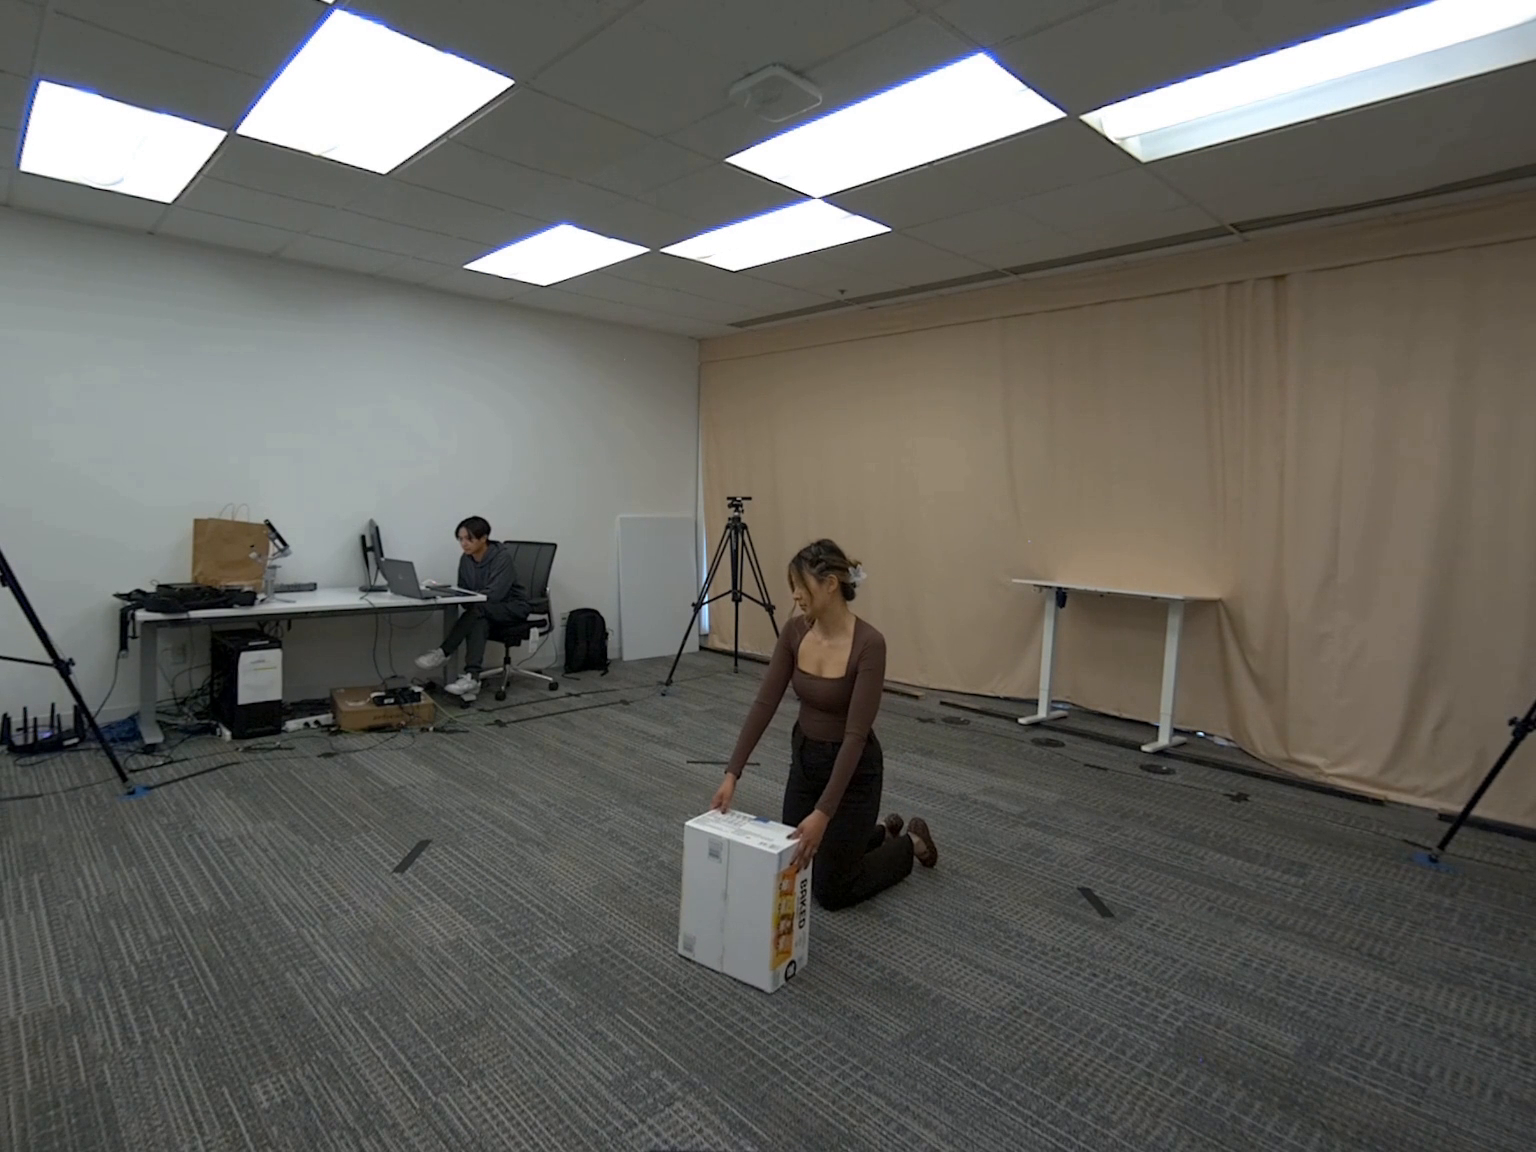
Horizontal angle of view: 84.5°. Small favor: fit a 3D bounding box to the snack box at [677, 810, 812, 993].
[{"bbox_3d":[-0.072,0.955,2.532,0.348,0.404,0.201,4,3,34],"label":"snack box"}]
